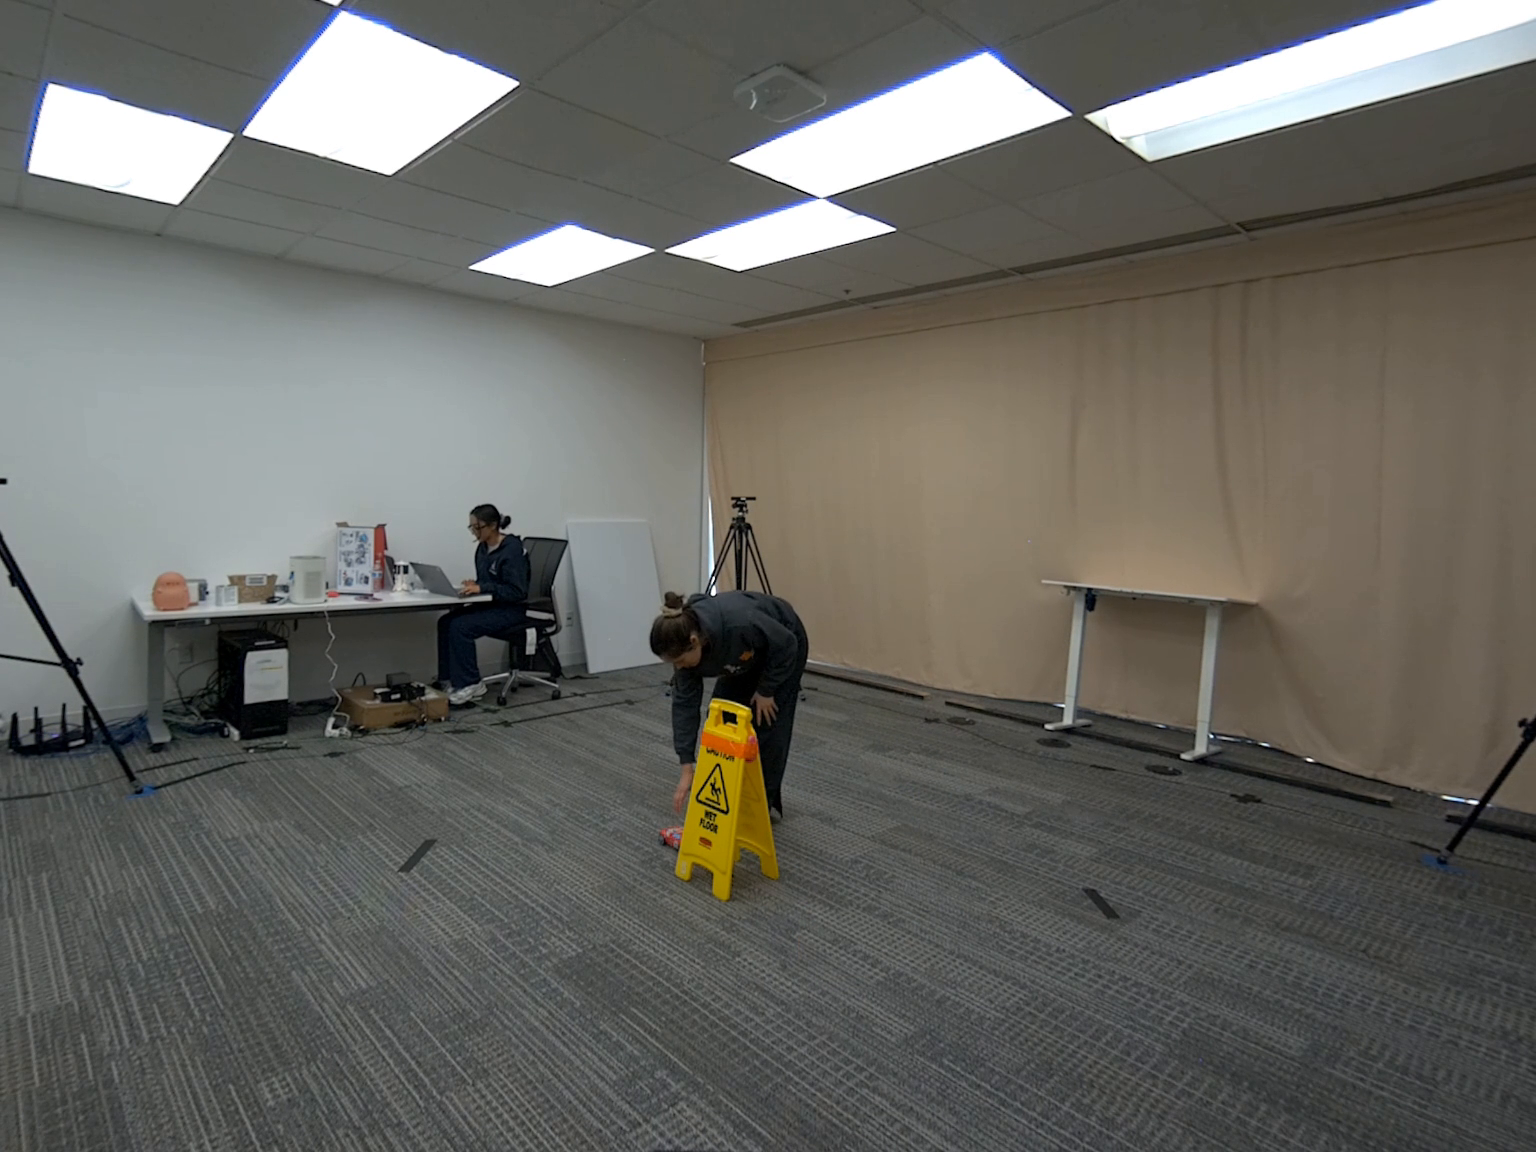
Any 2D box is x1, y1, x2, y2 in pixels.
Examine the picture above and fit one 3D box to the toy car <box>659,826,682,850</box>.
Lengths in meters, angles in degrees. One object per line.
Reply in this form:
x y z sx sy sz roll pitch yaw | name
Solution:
-0.339 1.057 3.337 0.127 0.083 0.259 0 -5 -38 | toy car
